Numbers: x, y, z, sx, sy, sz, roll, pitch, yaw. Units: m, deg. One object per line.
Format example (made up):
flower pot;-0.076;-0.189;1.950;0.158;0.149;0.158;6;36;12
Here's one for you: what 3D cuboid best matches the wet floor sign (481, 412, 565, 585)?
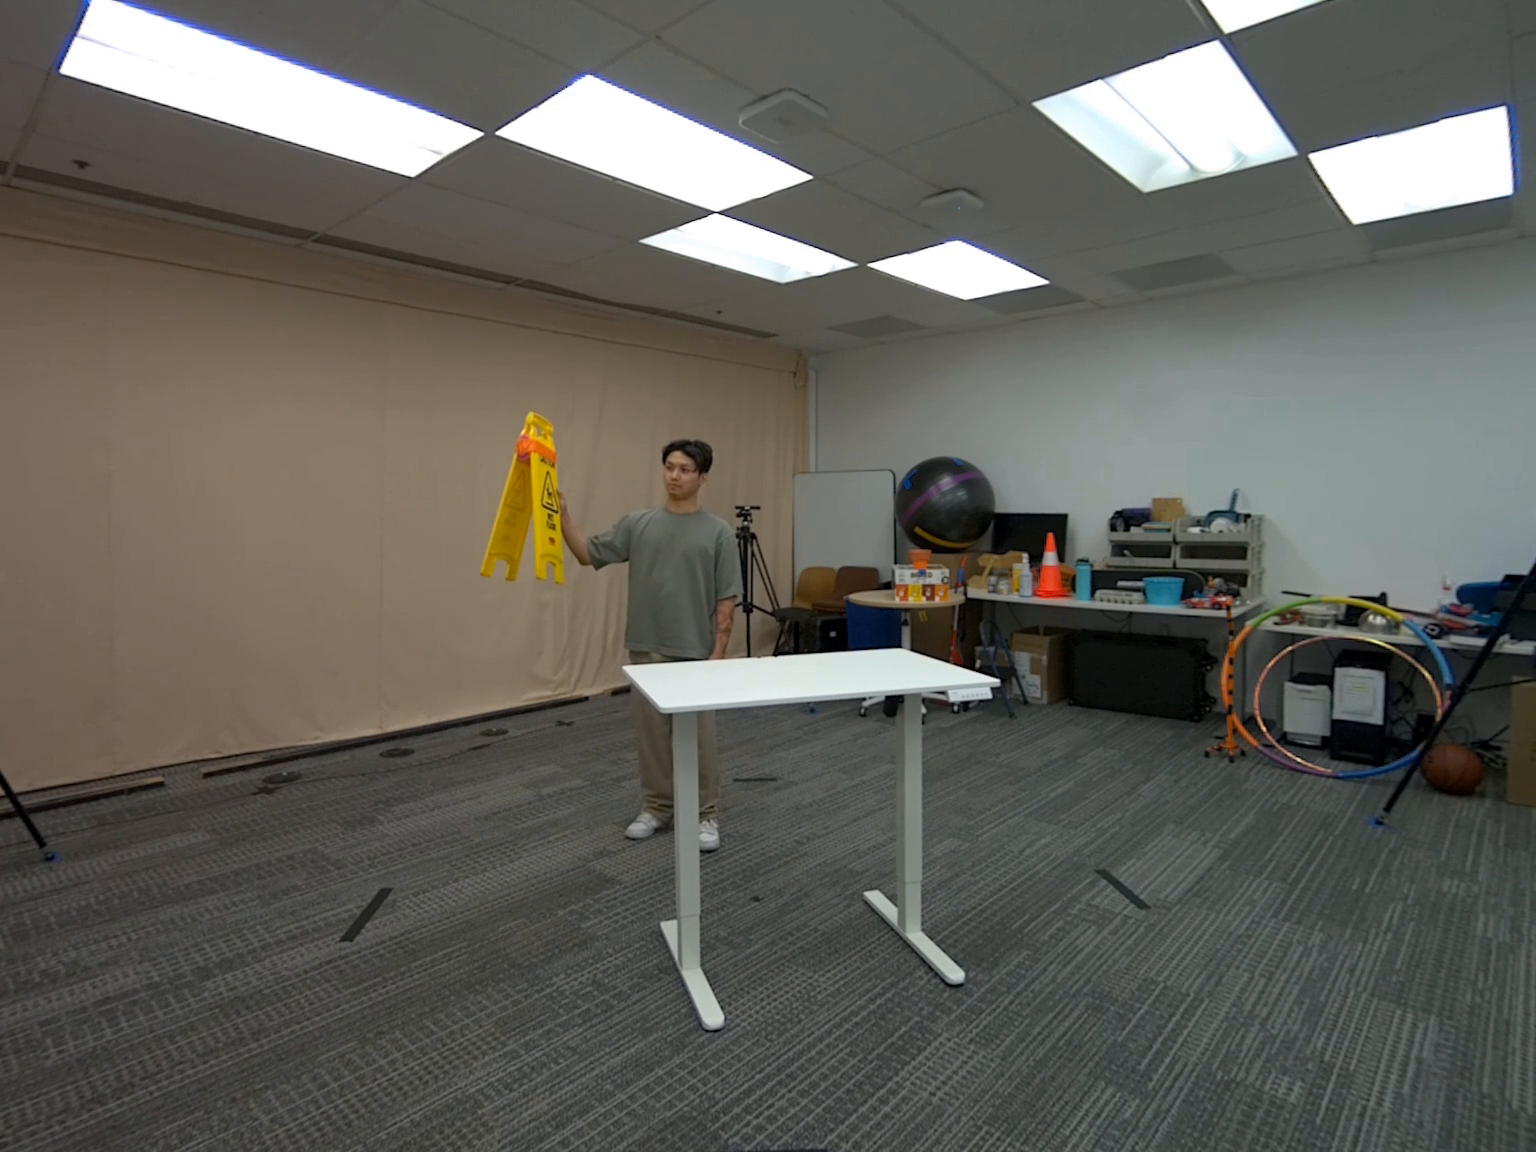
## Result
wet floor sign;-0.933;-0.308;3.329;0.293;0.648;0.278;3;-6;10
